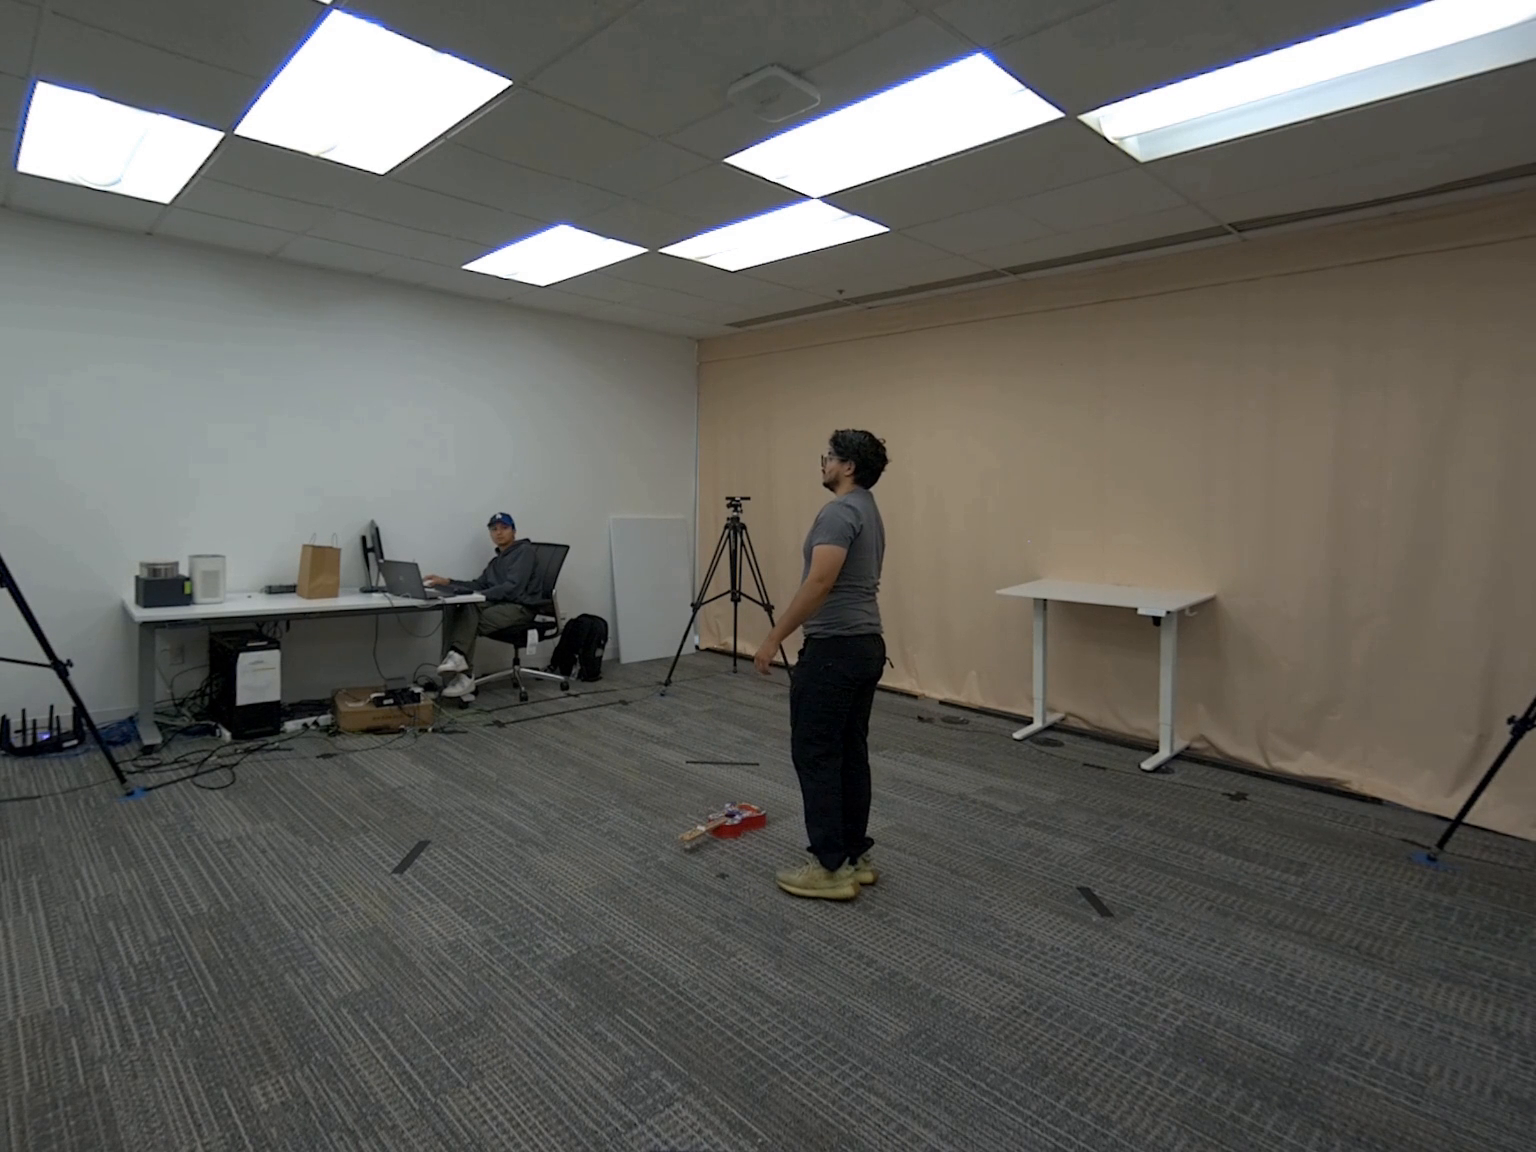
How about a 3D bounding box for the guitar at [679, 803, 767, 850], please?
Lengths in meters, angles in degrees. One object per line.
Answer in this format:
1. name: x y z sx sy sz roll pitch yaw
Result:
1. guitar: -0.232 1.037 3.502 0.198 0.070 0.486 6 6 43
